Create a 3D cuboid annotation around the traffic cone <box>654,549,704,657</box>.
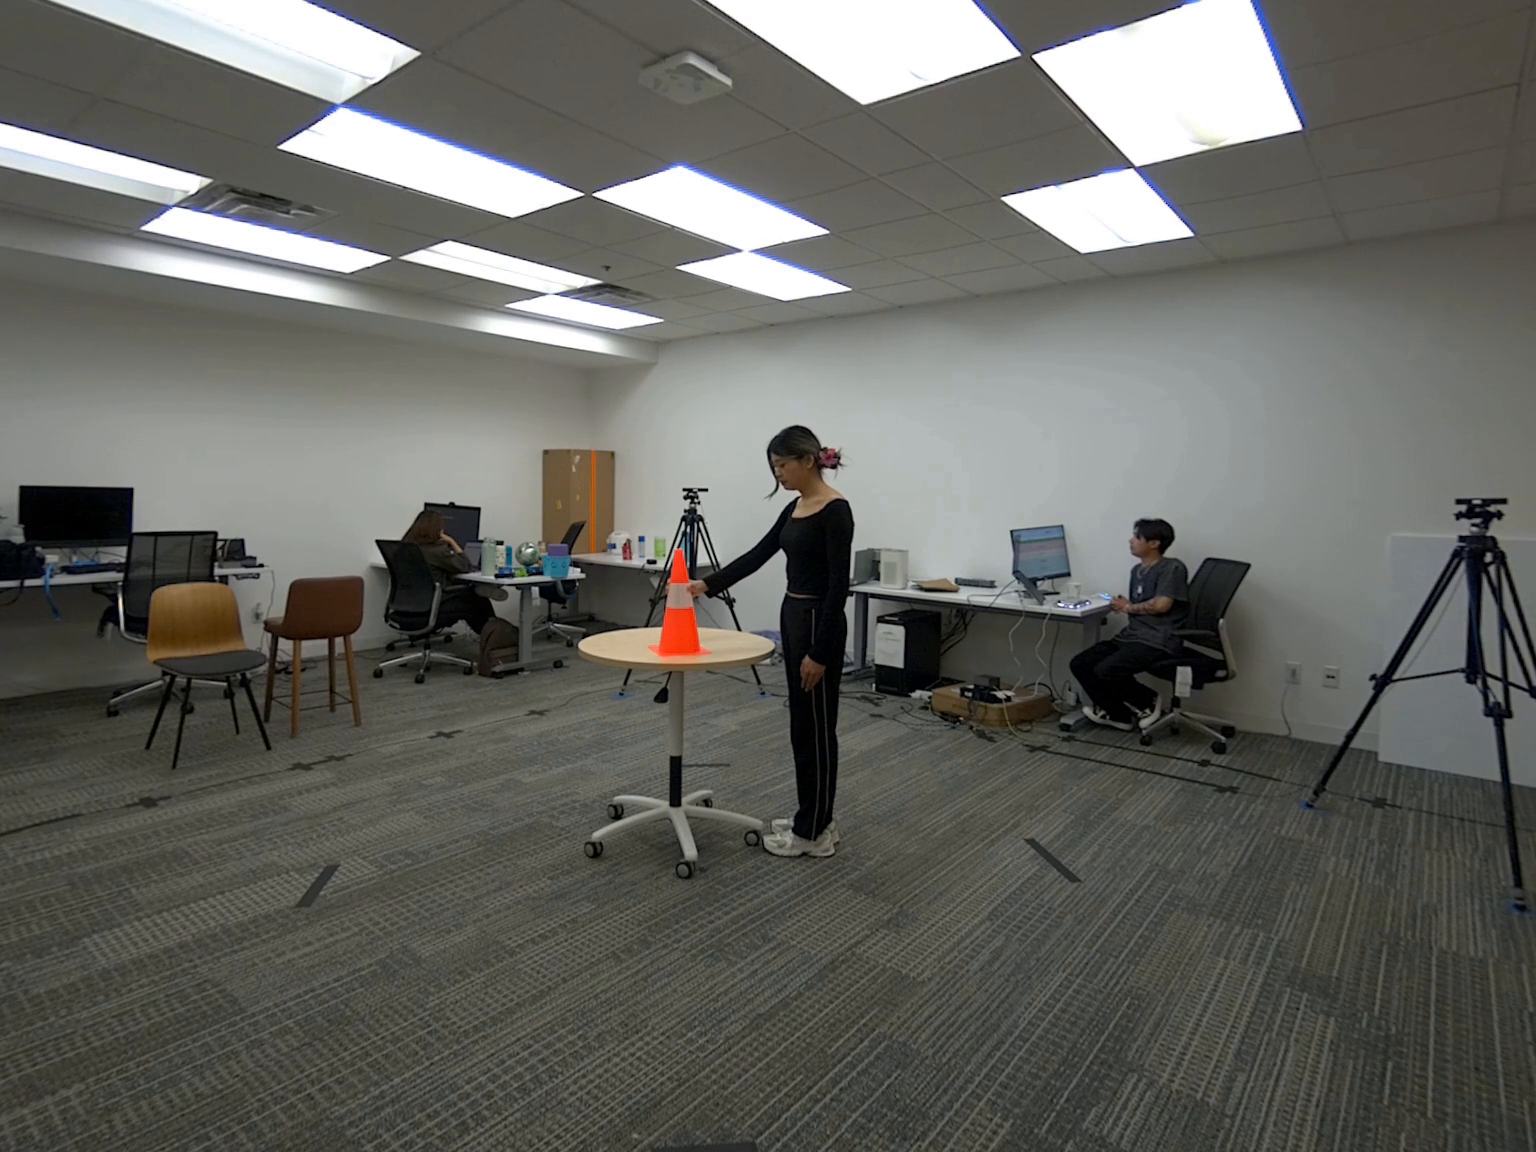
[{"bbox_3d":[-0.342,0.088,3.186,0.199,0.383,0.209,-1,3,-20],"label":"traffic cone"}]
